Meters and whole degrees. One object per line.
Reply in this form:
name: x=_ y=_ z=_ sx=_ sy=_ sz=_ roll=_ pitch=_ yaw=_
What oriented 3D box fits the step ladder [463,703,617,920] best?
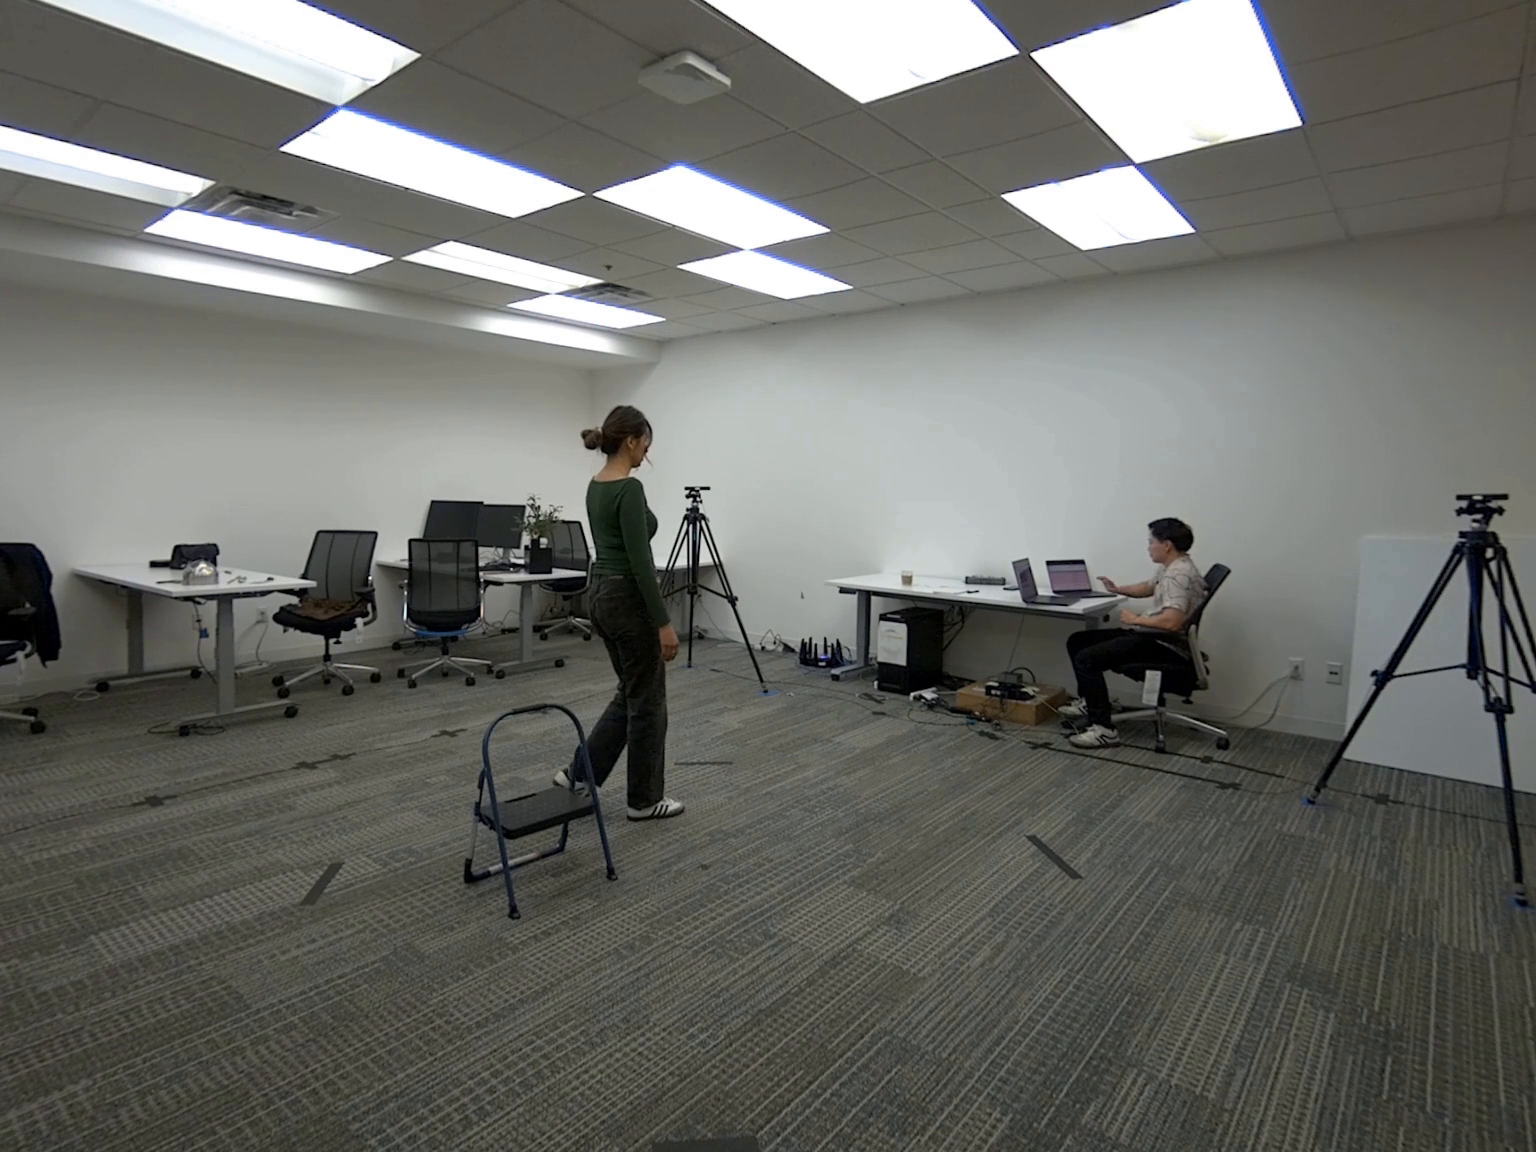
step ladder: x=-0.808 y=0.768 z=2.974 sx=0.361 sy=0.604 sz=0.417 roll=4 pitch=4 yaw=43
